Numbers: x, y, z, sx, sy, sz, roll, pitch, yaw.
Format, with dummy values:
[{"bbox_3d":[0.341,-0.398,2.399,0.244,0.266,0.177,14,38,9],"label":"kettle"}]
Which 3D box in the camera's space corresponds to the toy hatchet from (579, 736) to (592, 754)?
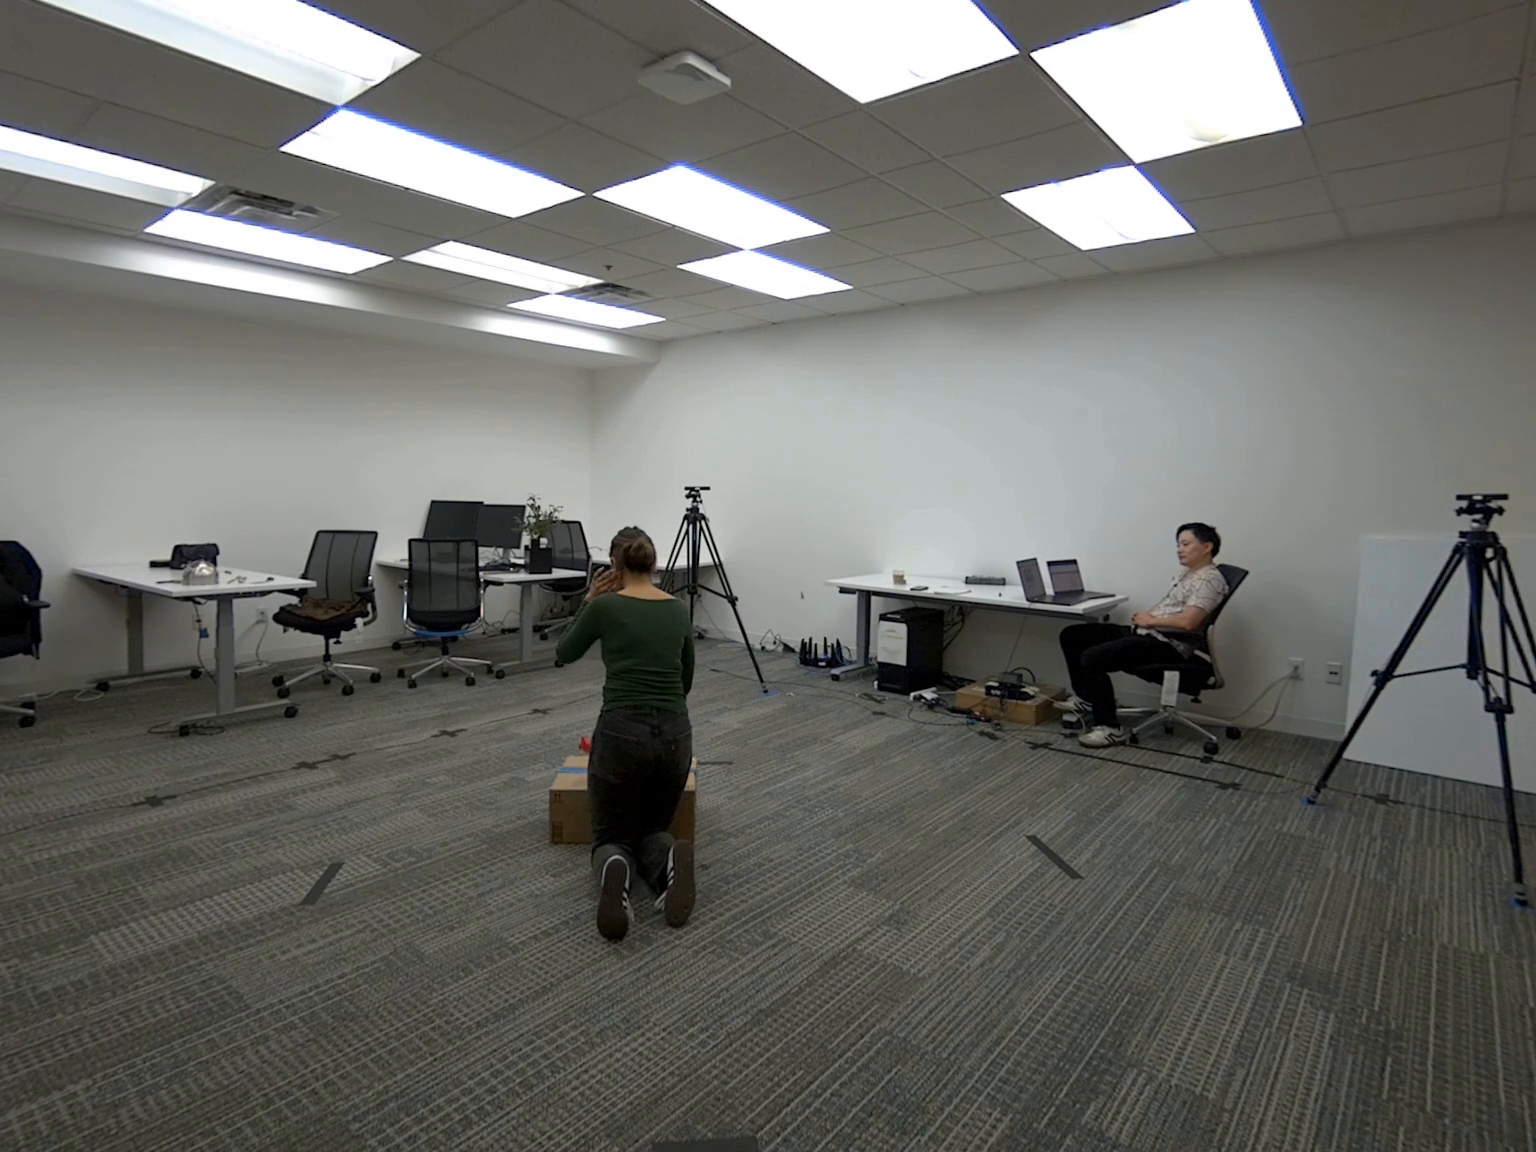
[{"bbox_3d":[-0.629,0.675,3.422,0.267,0.128,0.030,1,43,-10],"label":"toy hatchet"}]
